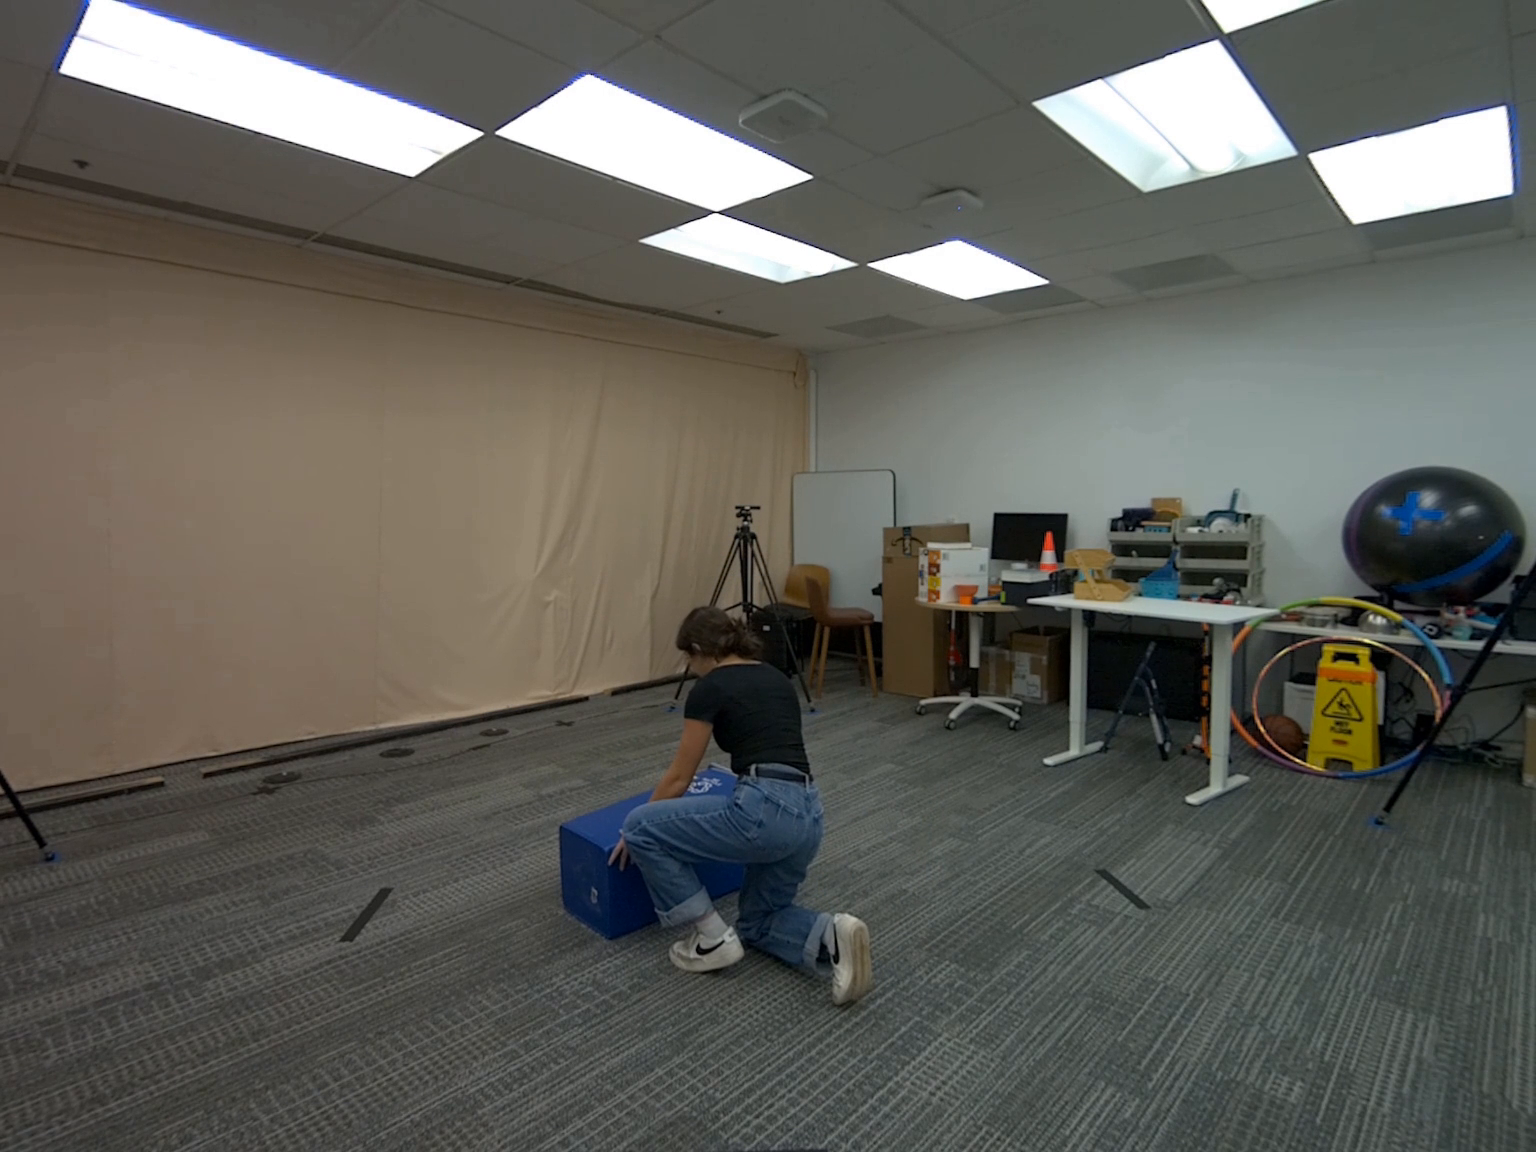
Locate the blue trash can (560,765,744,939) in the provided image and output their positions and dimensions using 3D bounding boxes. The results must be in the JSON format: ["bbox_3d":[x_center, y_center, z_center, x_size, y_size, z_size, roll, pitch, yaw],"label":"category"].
[{"bbox_3d":[-0.355,0.979,3.019,0.693,0.376,0.386,-9,9,-41],"label":"blue trash can"}]
